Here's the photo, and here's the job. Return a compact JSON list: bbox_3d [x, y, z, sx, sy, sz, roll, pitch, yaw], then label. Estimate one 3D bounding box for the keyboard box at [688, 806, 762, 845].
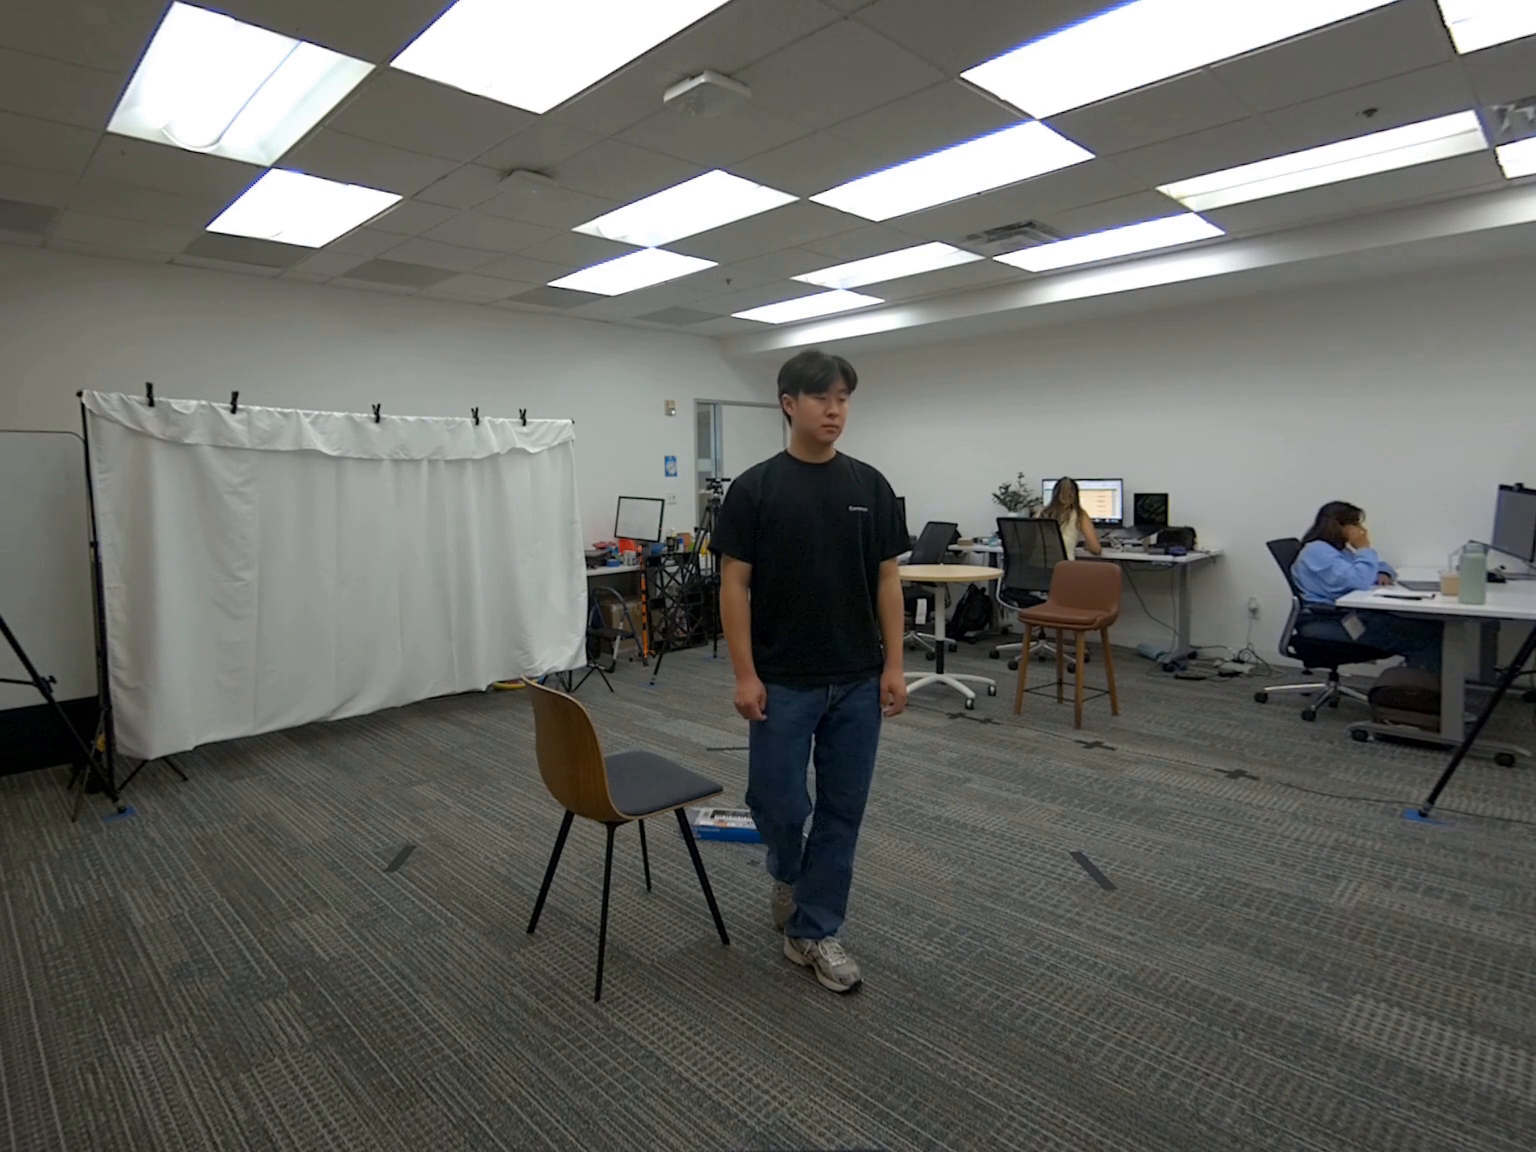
[{"bbox_3d":[-0.114,0.987,3.374,0.441,0.059,0.175,0,7,10],"label":"keyboard box"}]
